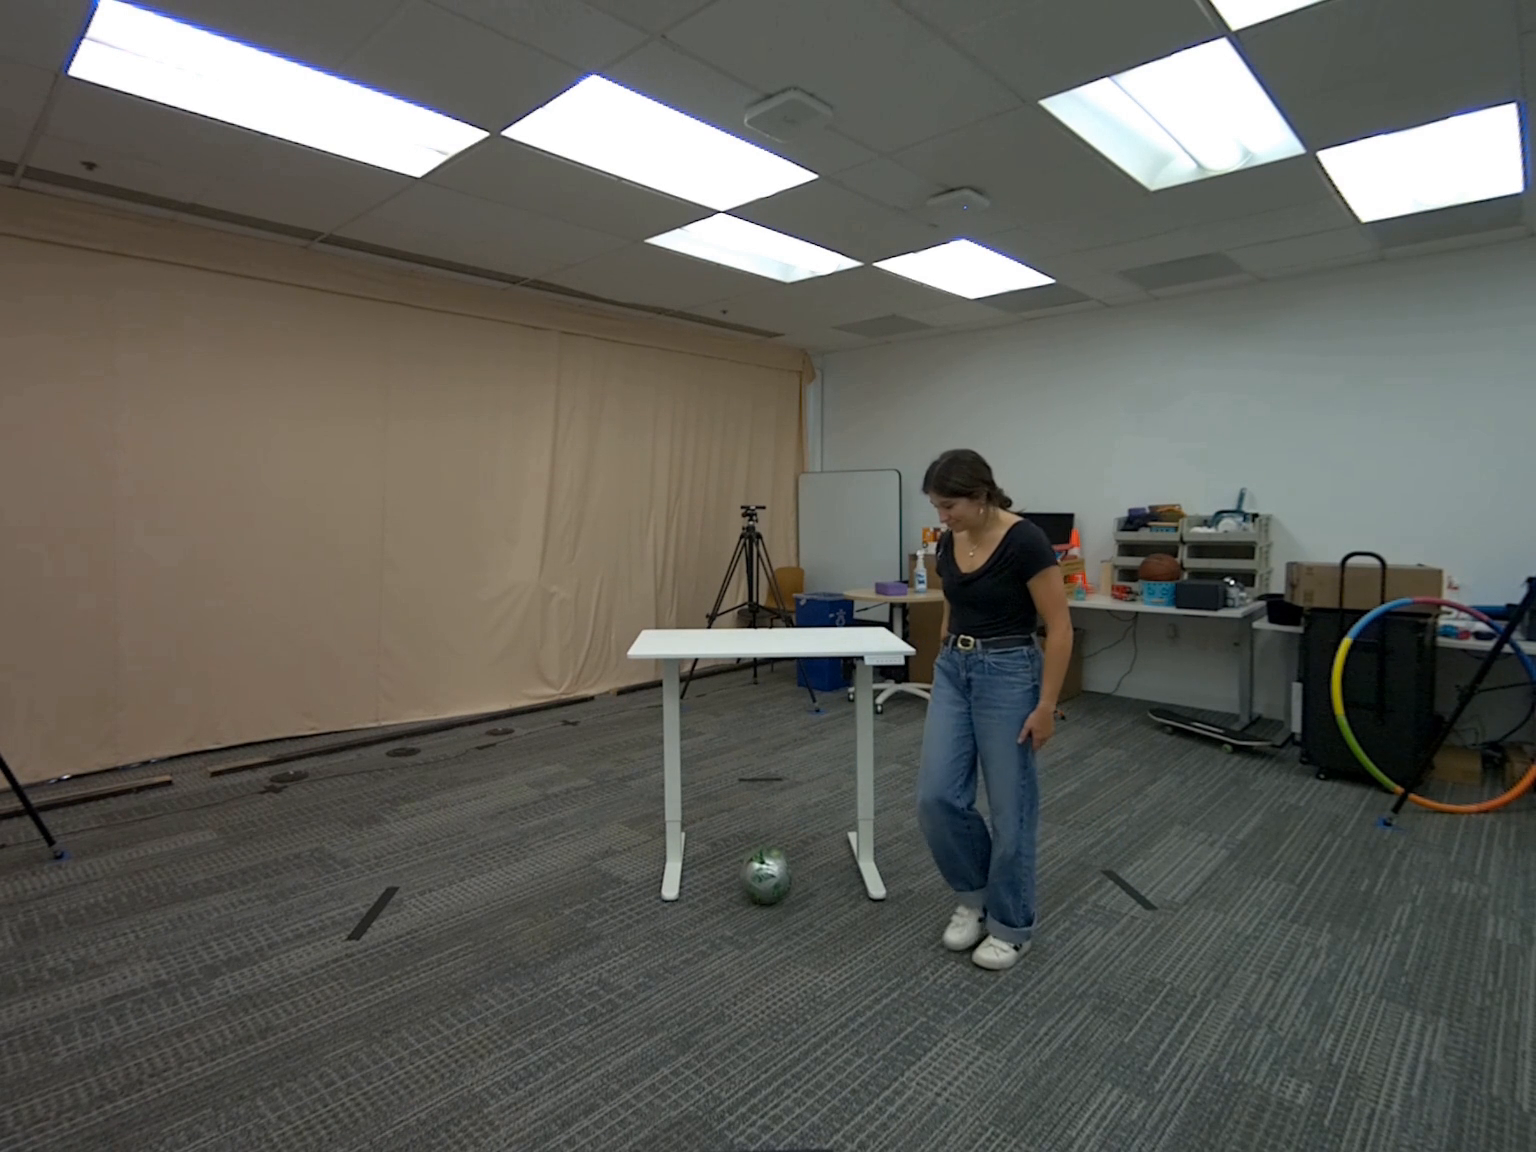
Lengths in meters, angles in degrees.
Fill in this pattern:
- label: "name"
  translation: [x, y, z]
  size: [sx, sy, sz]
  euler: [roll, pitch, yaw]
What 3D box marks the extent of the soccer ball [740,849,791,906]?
- label: "soccer ball"
  translation: [0.001, 1.056, 2.962]
  size: [0.187, 0.187, 0.188]
  euler: [0, 4, -2]
